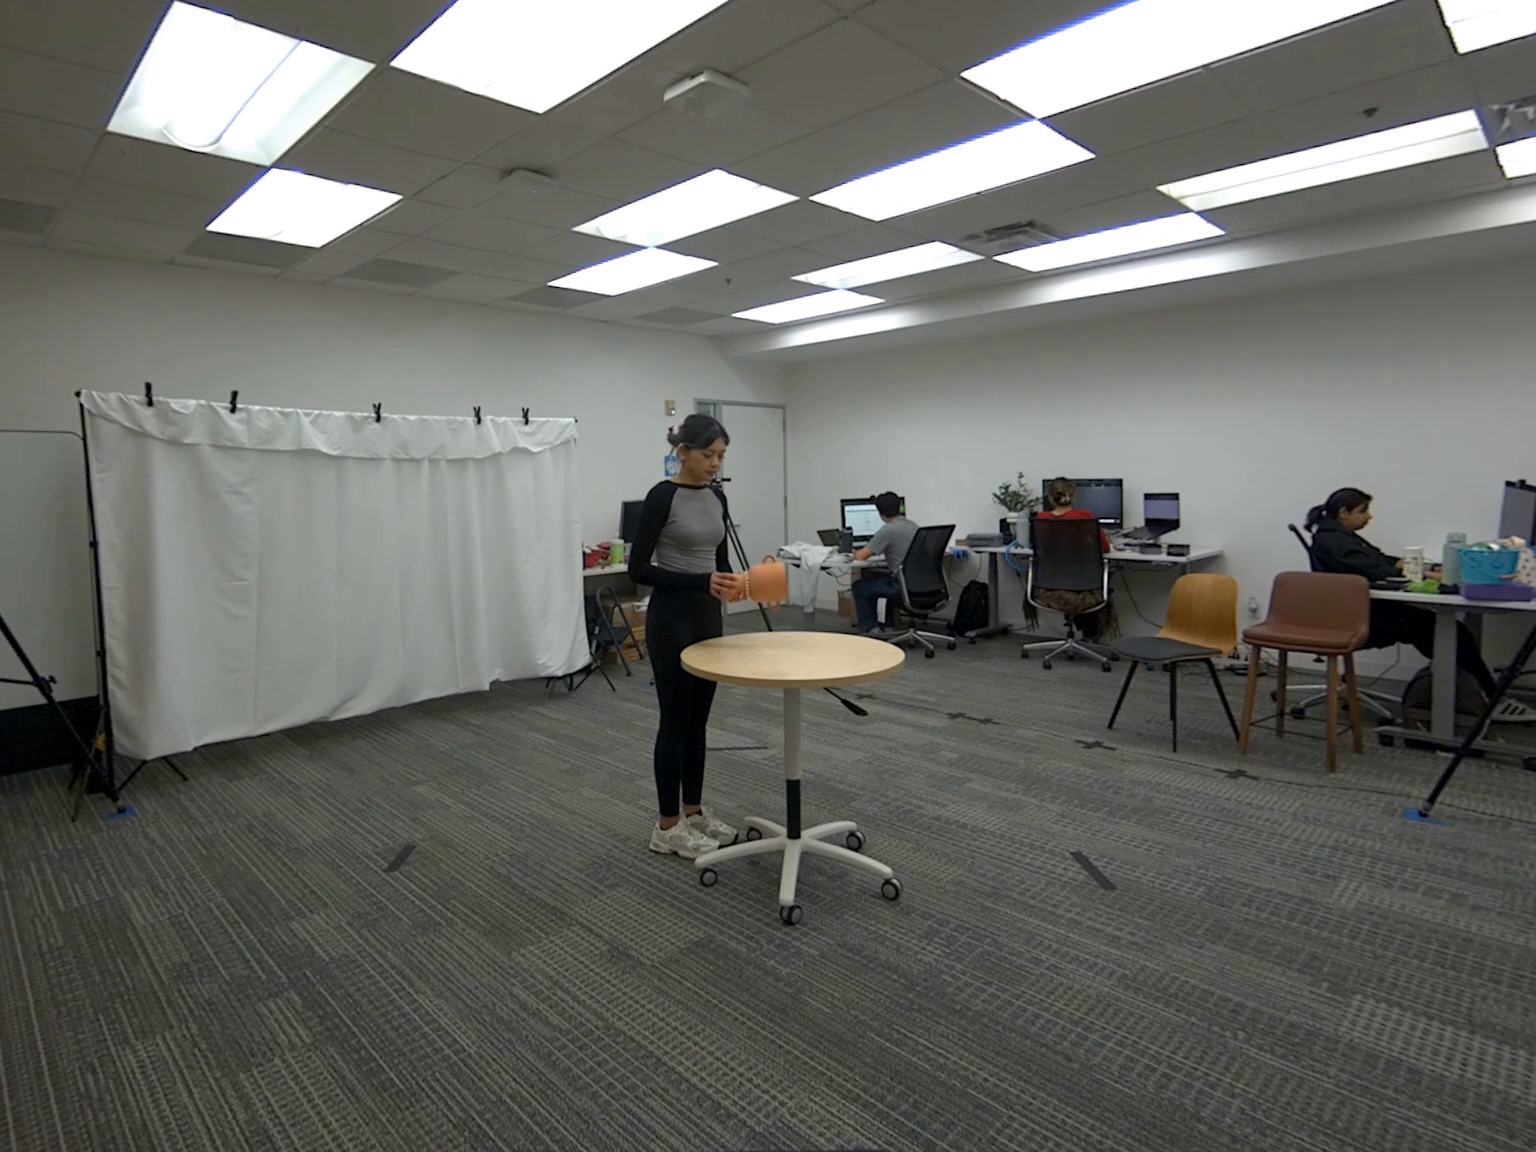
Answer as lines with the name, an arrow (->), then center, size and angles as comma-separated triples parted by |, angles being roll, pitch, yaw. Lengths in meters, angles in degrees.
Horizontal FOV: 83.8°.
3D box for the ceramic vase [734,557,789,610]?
ceramic vase -> -0.036, 0.028, 3.018 | 0.220, 0.163, 0.130 | -6, -39, 4
